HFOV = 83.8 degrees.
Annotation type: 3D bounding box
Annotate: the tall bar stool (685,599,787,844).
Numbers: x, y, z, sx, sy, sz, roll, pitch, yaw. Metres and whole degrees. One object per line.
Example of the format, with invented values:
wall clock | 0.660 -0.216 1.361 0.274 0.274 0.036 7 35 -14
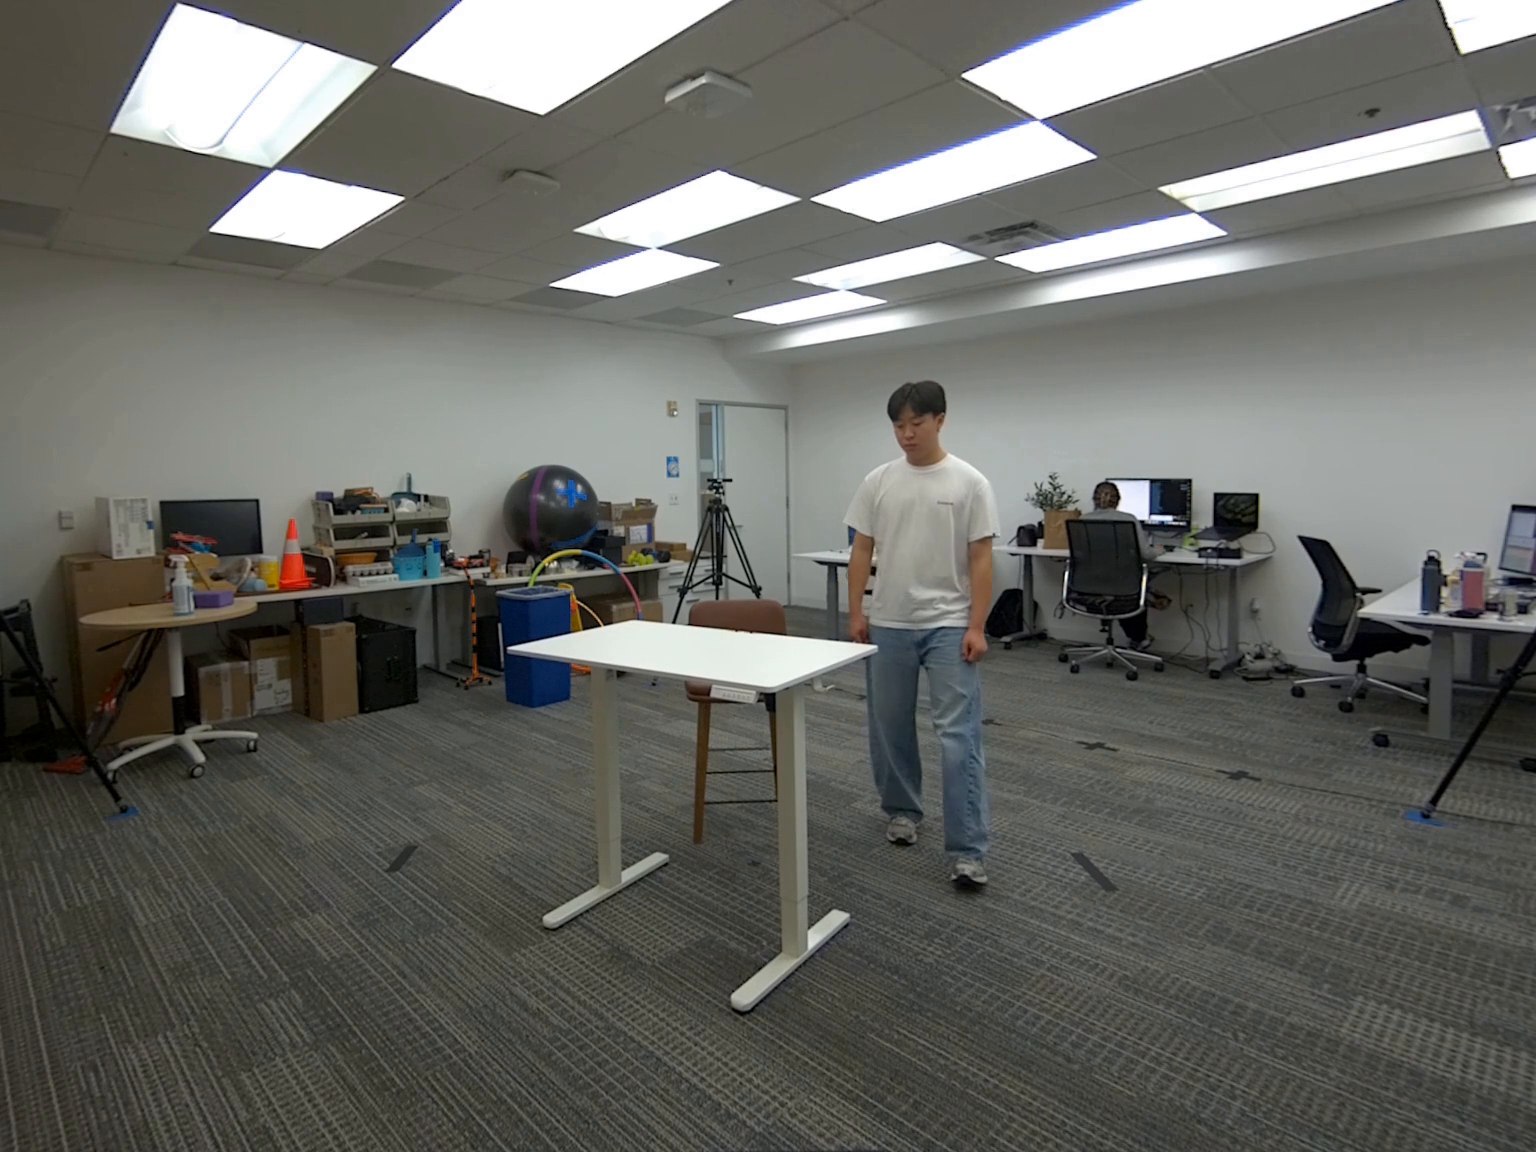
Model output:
tall bar stool | -0.101 0.569 3.494 0.455 0.888 0.470 -1 2 -5
